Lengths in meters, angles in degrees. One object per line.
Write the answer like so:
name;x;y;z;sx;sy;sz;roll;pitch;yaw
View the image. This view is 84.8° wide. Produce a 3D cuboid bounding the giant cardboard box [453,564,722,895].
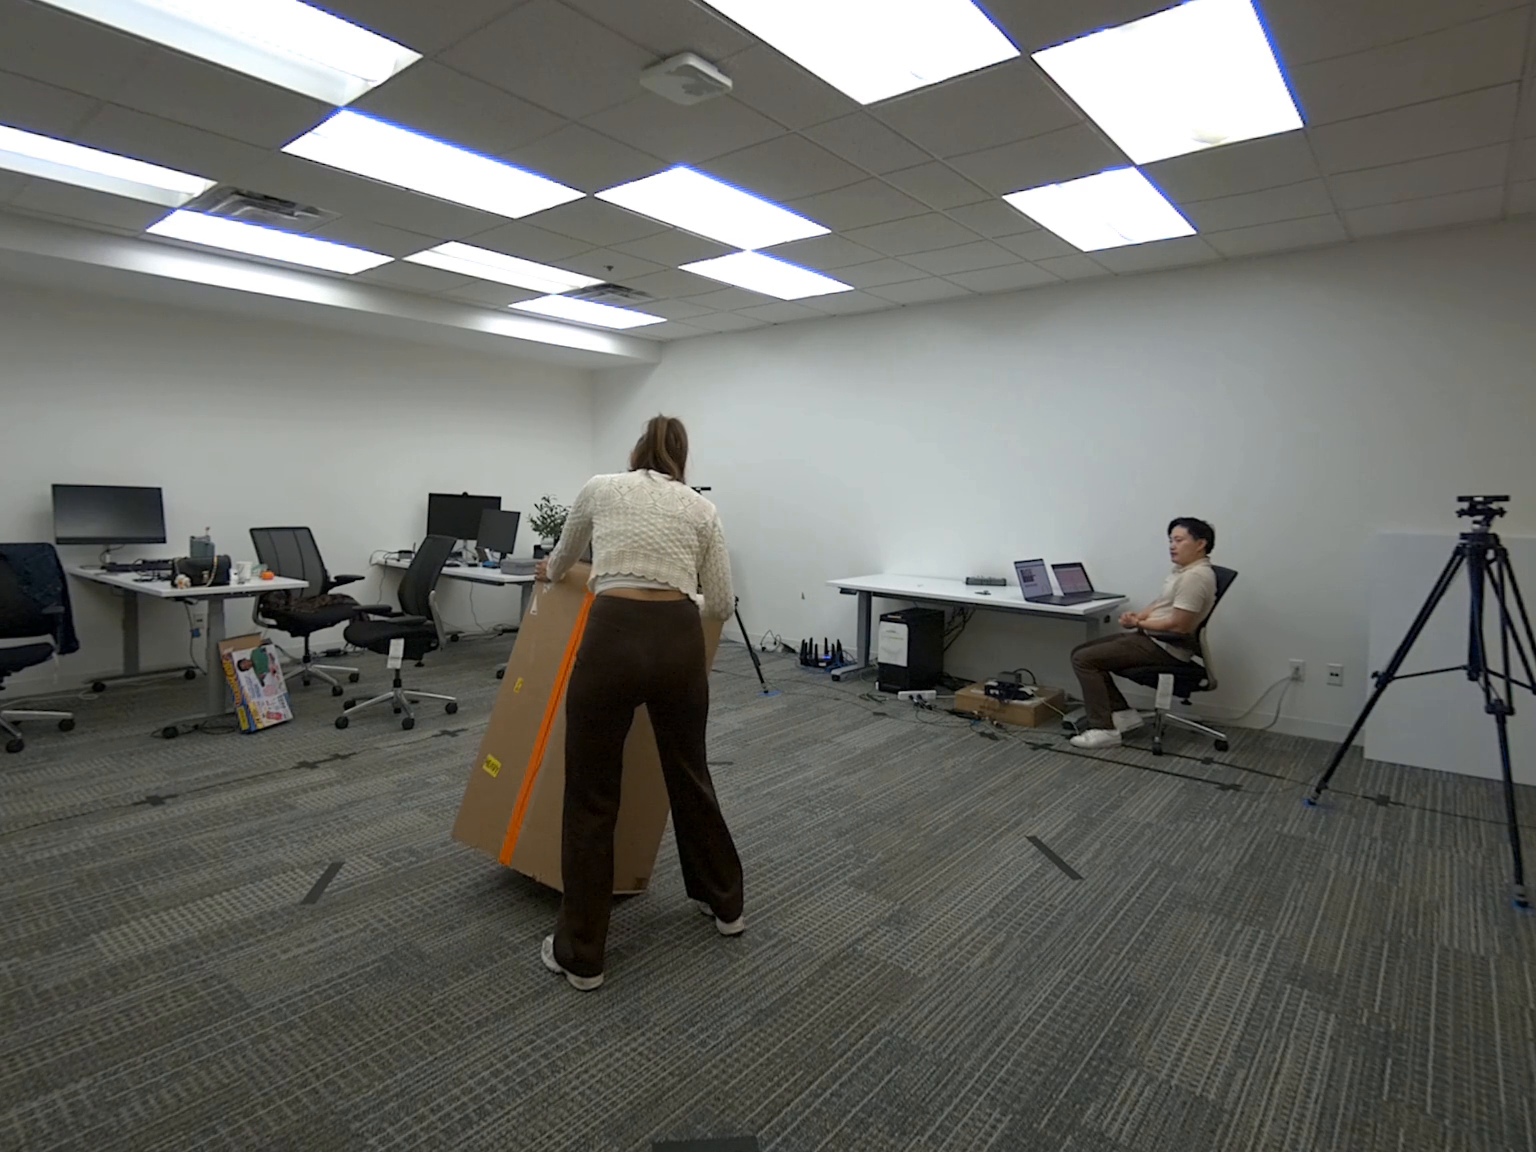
giant cardboard box;-0.639;0.514;3.028;0.596;1.034;0.409;8;-14;31
